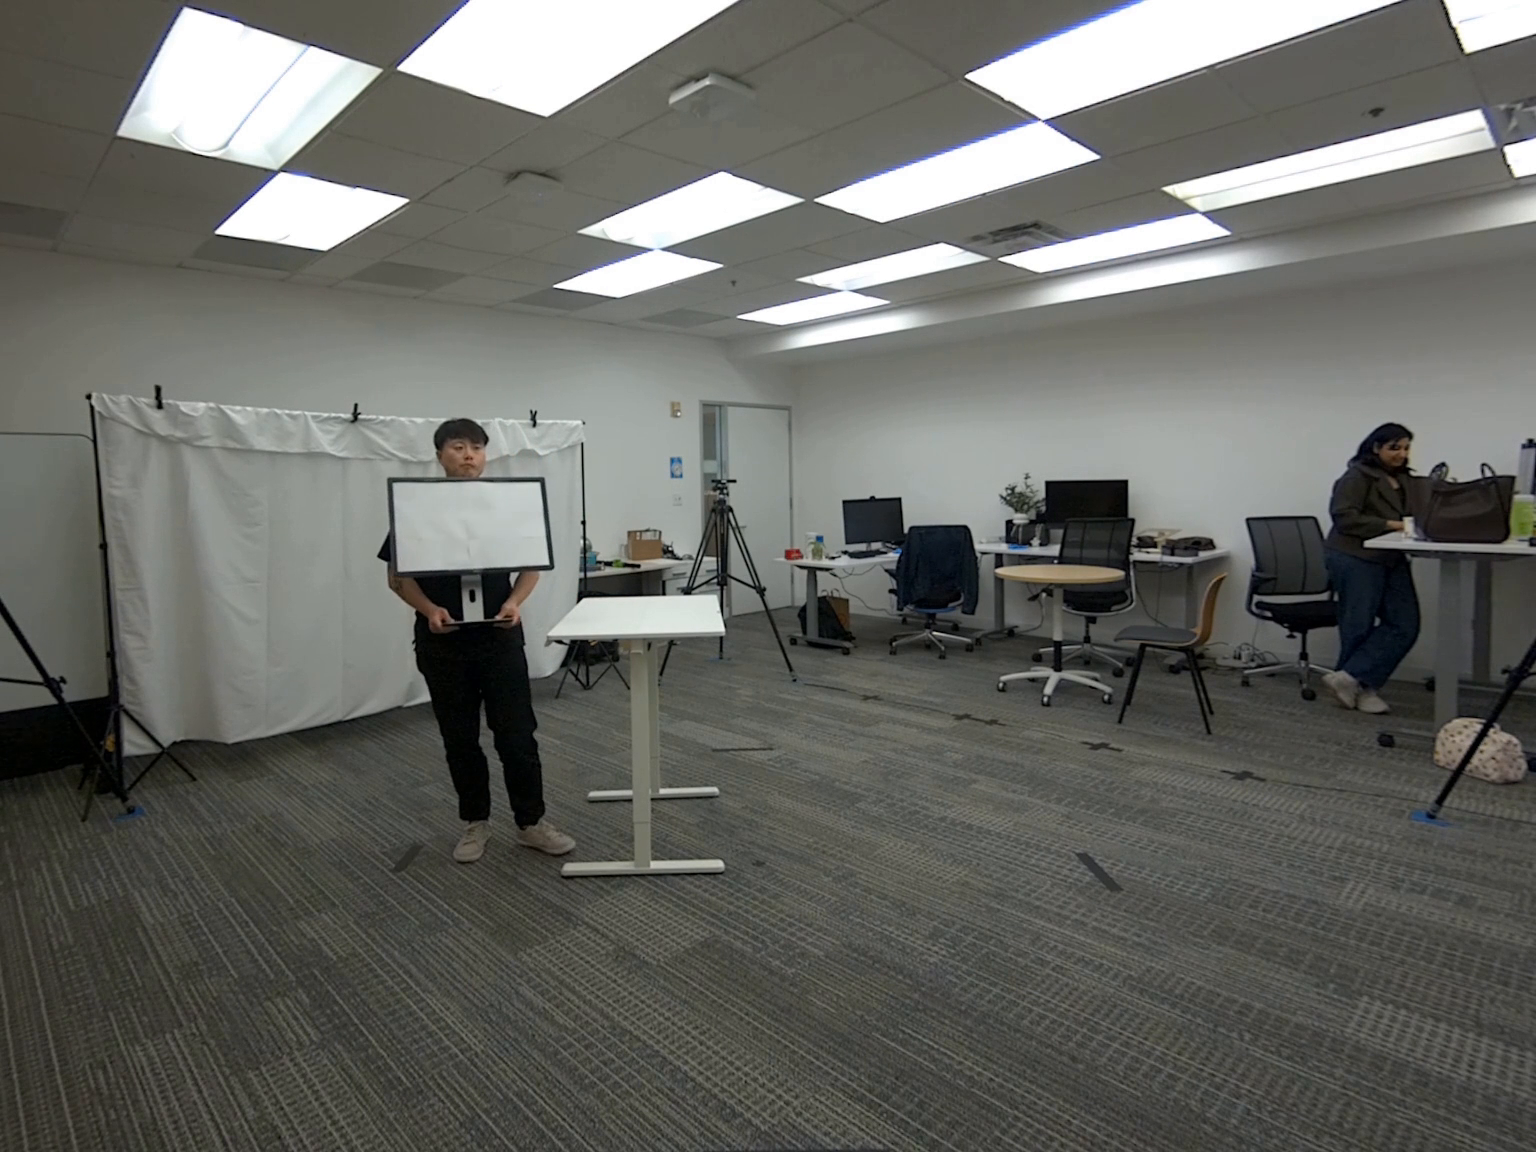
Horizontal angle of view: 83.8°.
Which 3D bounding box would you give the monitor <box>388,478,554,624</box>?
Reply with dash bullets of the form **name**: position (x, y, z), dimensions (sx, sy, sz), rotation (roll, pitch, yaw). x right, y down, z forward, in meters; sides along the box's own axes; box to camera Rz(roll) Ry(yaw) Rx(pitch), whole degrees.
- **monitor**: position (-1.067, -0.091, 3.087), dimensions (0.527, 0.525, 0.190), rotation (-3, -5, -28)
